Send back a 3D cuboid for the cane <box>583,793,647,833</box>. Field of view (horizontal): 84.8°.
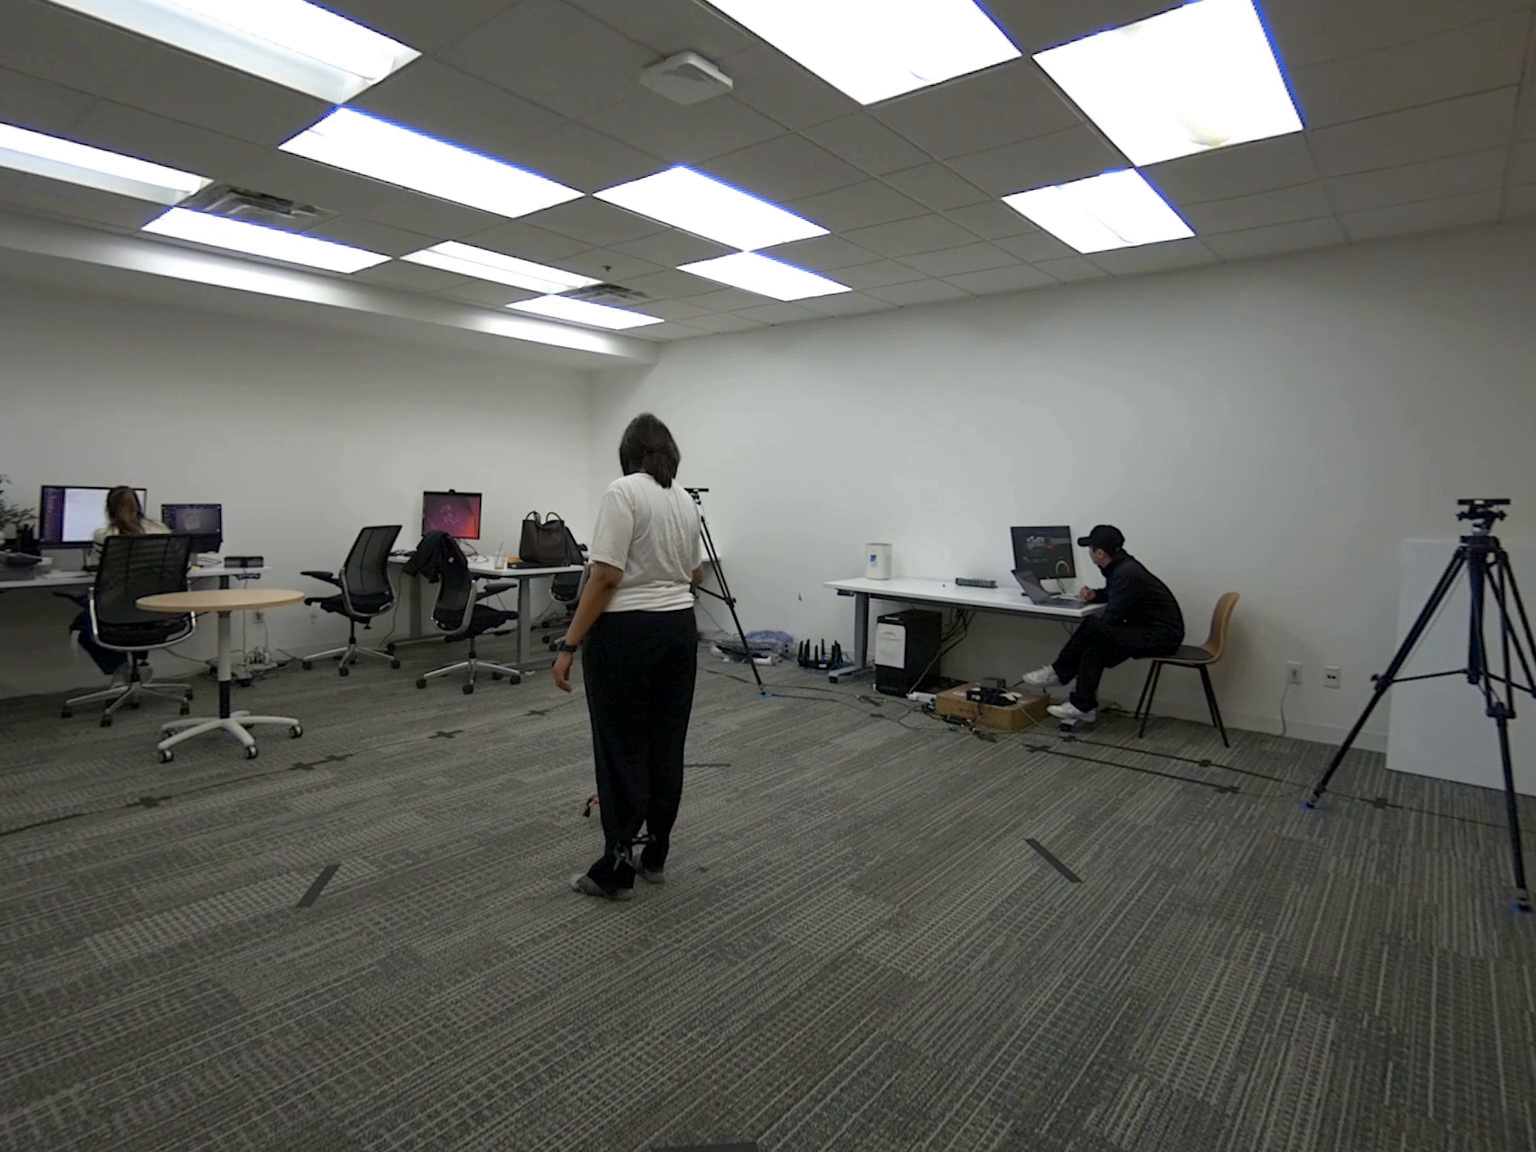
[{"bbox_3d":[-0.557,0.553,3.521,0.206,0.907,0.152,15,2,-4],"label":"cane"}]
